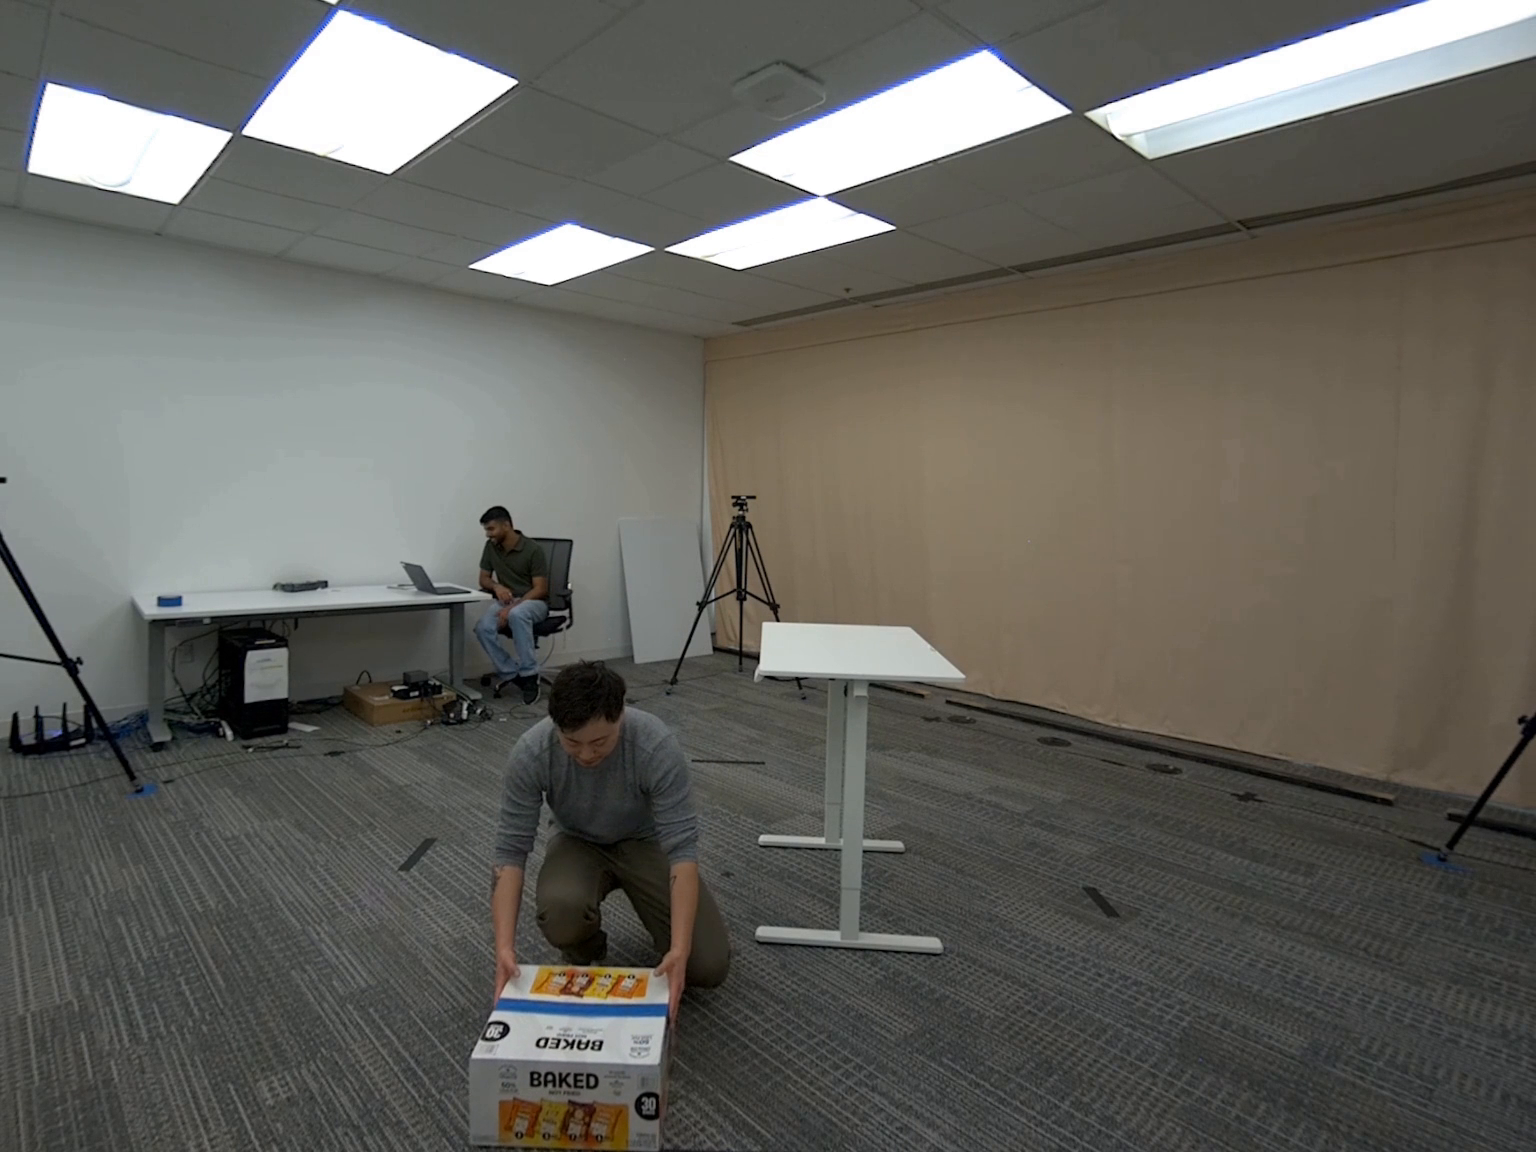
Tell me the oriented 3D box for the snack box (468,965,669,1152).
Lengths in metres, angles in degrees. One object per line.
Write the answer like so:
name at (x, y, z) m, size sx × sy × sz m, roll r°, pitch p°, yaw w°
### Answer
snack box at (-0.444, 1.102, 1.925) m, size 0.405 × 0.205 × 0.341 m, roll 1°, pitch 6°, yaw 0°
